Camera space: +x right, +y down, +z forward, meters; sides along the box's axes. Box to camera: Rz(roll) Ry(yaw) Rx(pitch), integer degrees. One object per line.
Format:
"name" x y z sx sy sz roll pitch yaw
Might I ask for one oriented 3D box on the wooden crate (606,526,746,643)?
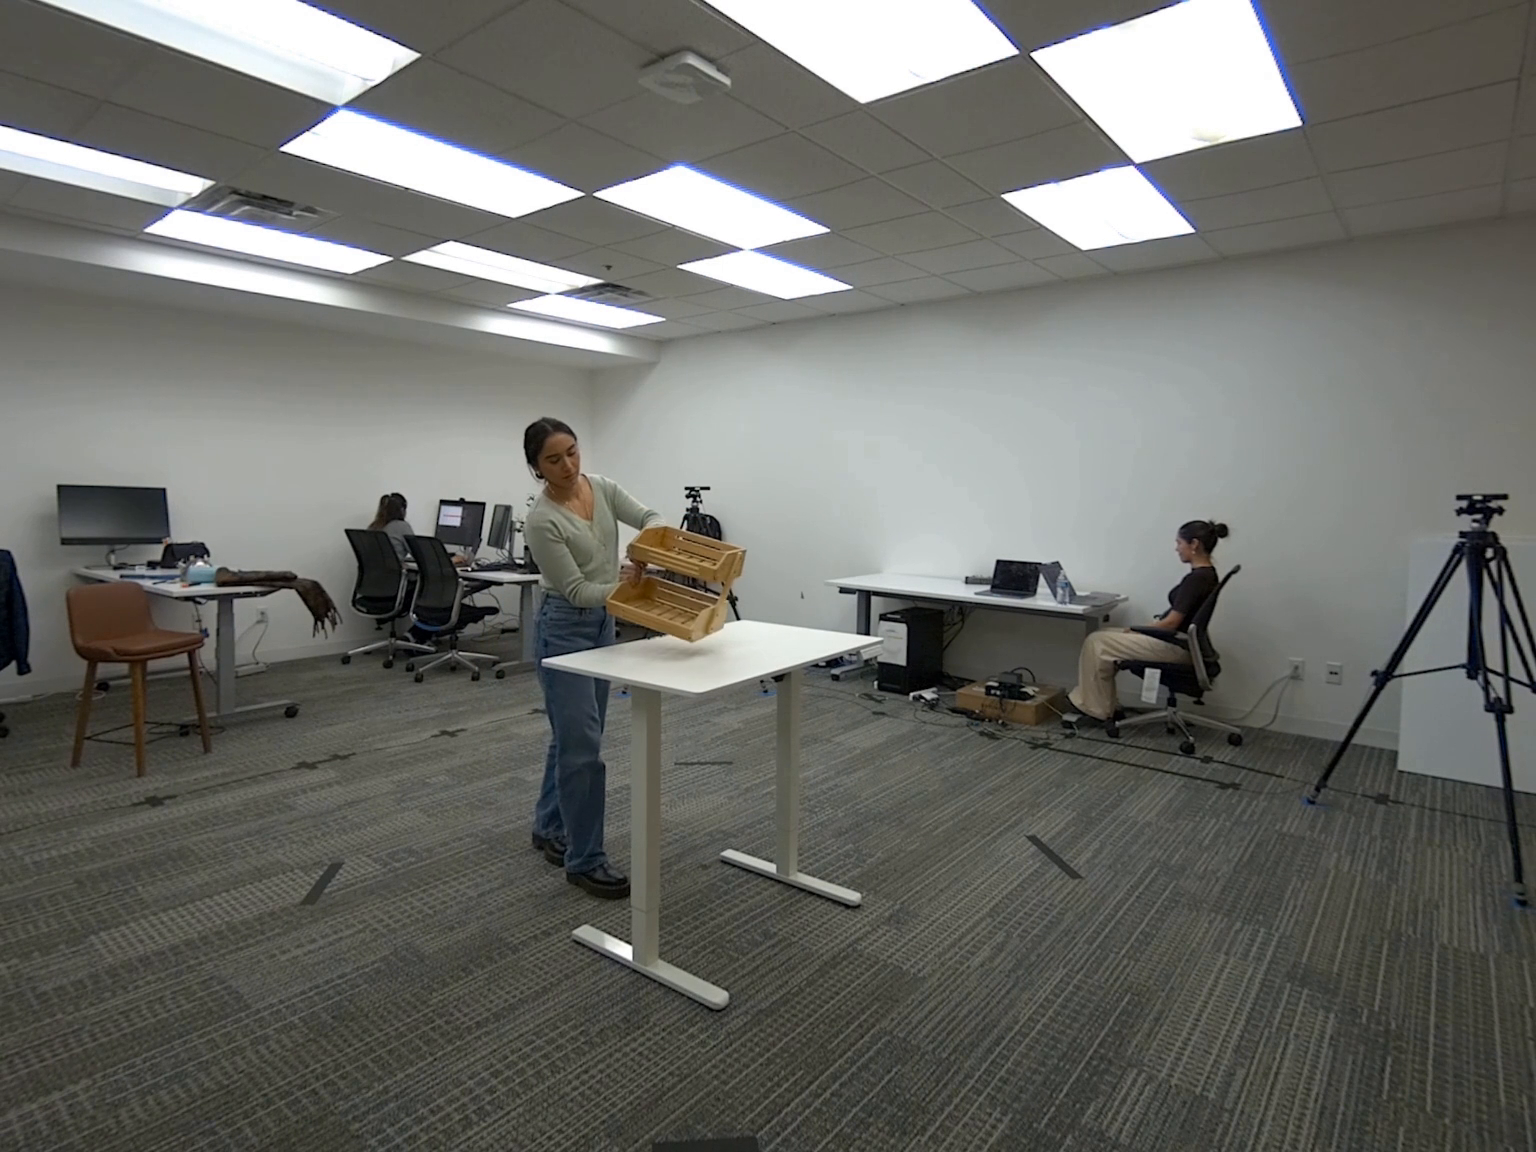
"wooden crate" -0.298 0.015 2.649 0.333 0.271 0.297 16 13 20
